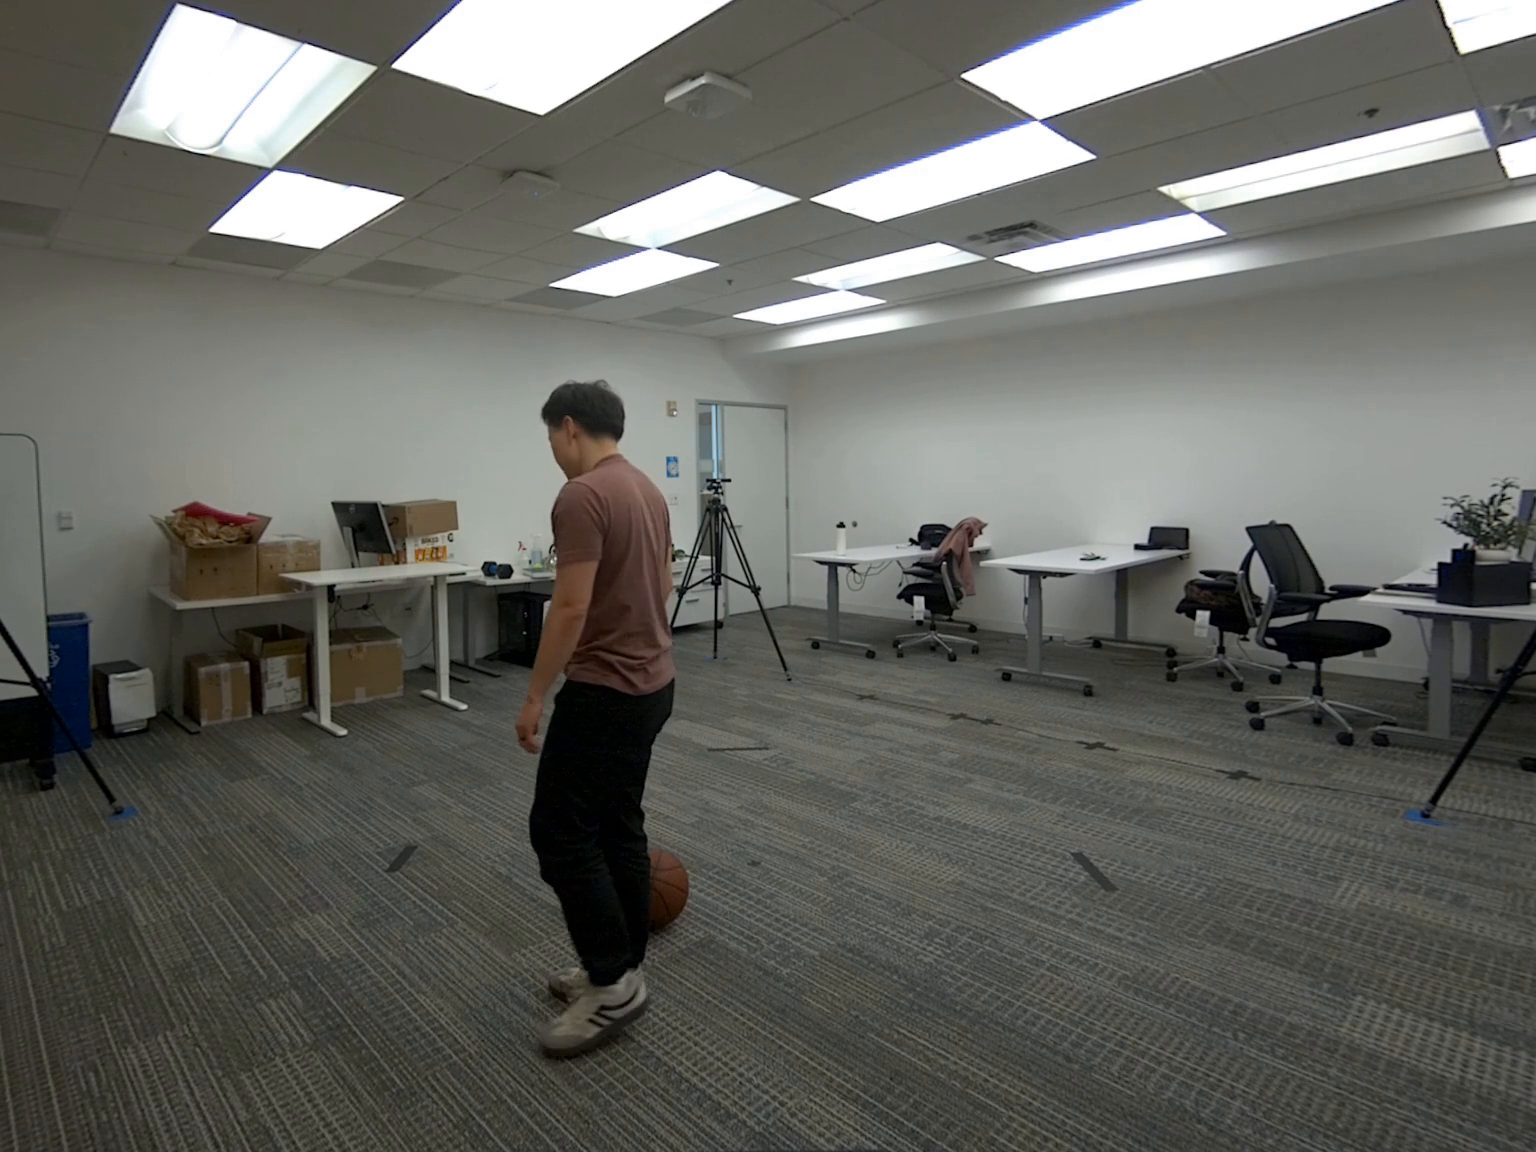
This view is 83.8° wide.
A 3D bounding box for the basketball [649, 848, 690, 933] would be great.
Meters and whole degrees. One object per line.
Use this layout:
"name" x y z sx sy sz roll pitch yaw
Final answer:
"basketball" -0.361 0.985 2.687 0.236 0.235 0.237 -1 5 -2
